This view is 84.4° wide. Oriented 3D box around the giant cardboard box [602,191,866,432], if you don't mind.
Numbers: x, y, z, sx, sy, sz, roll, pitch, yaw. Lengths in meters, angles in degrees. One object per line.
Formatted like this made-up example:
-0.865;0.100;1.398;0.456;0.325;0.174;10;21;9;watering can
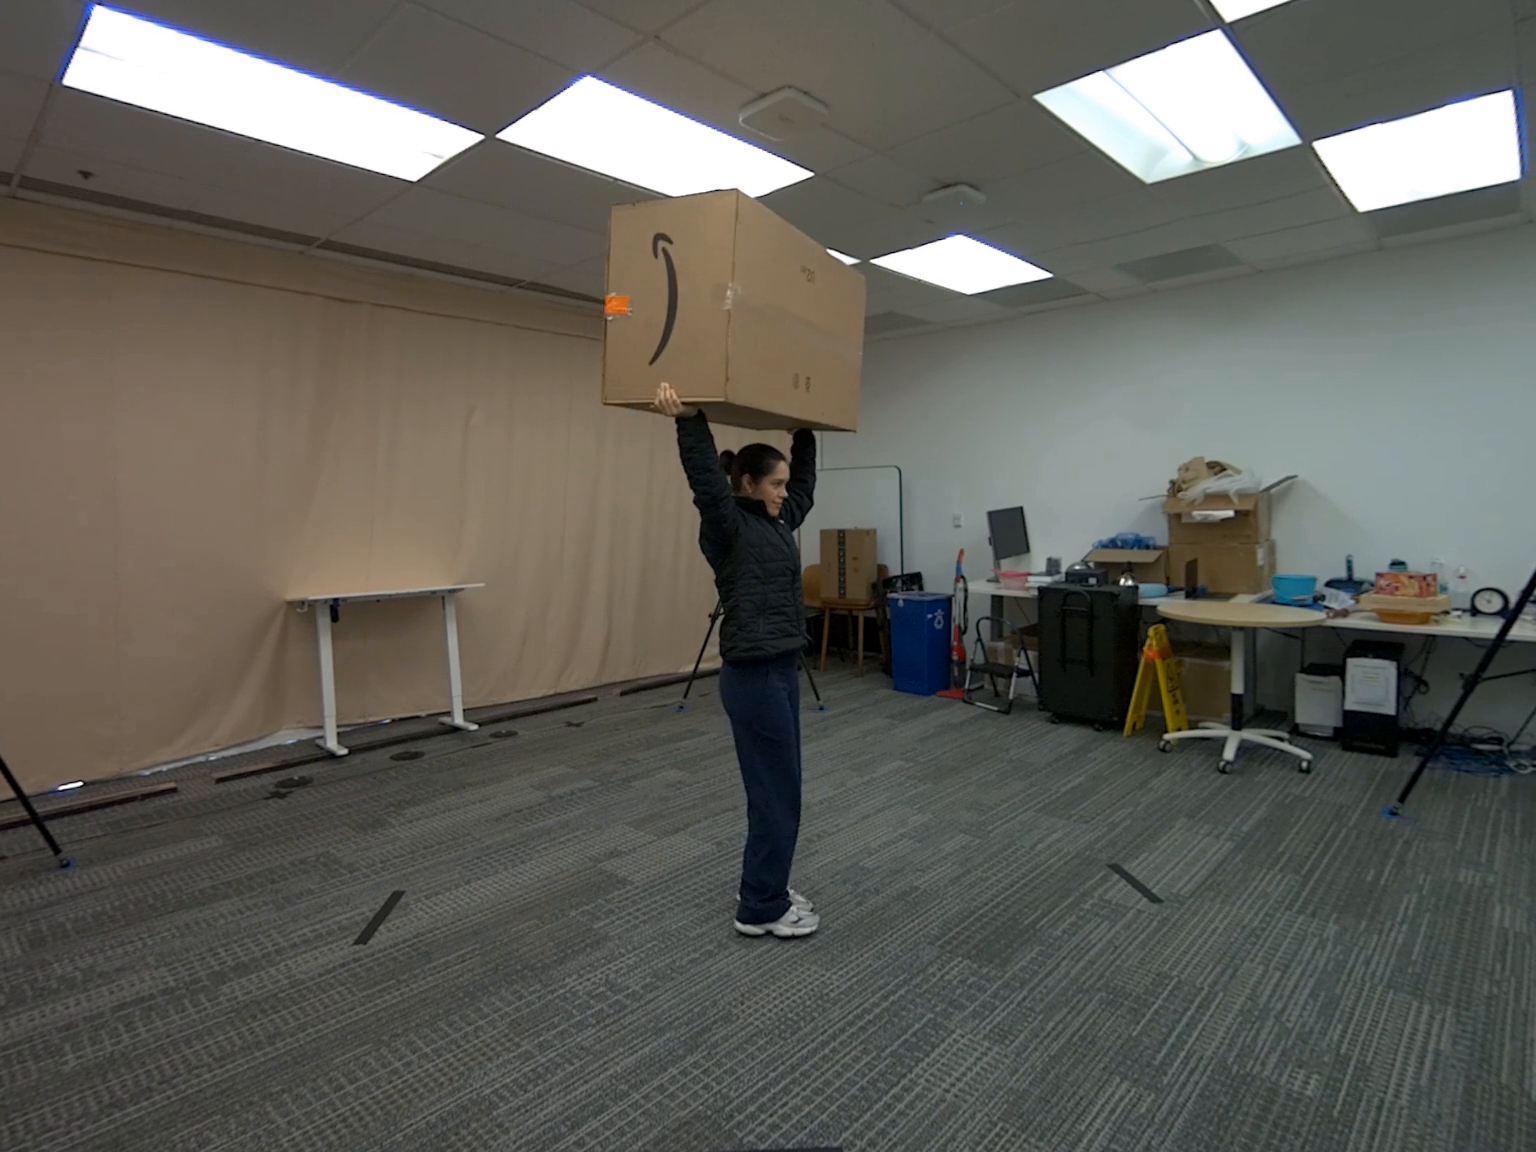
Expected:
-0.048;-0.802;2.804;0.459;0.582;1.002;4;5;26;giant cardboard box
